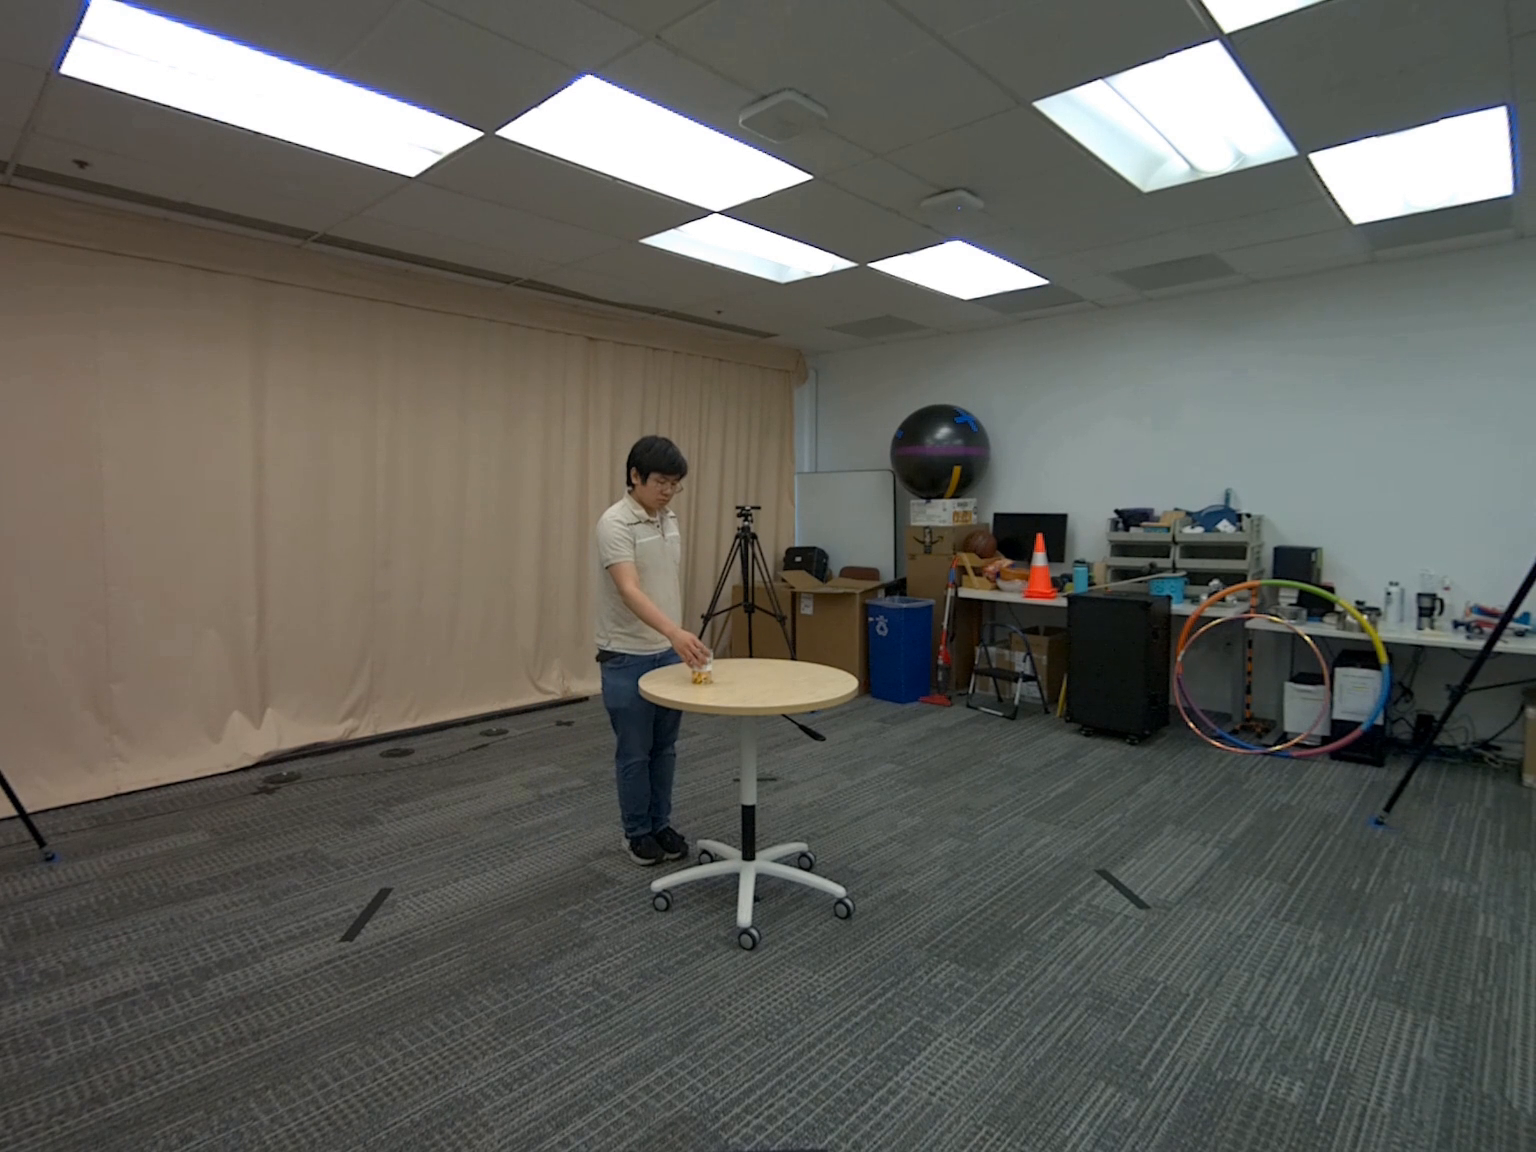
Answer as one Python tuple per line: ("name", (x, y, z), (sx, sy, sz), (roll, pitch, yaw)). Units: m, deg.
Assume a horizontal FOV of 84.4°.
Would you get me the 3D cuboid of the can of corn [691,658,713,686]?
("can of corn", (-0.222, 0.315, 2.904), (0.074, 0.110, 0.074), (-2, 6, -2))
